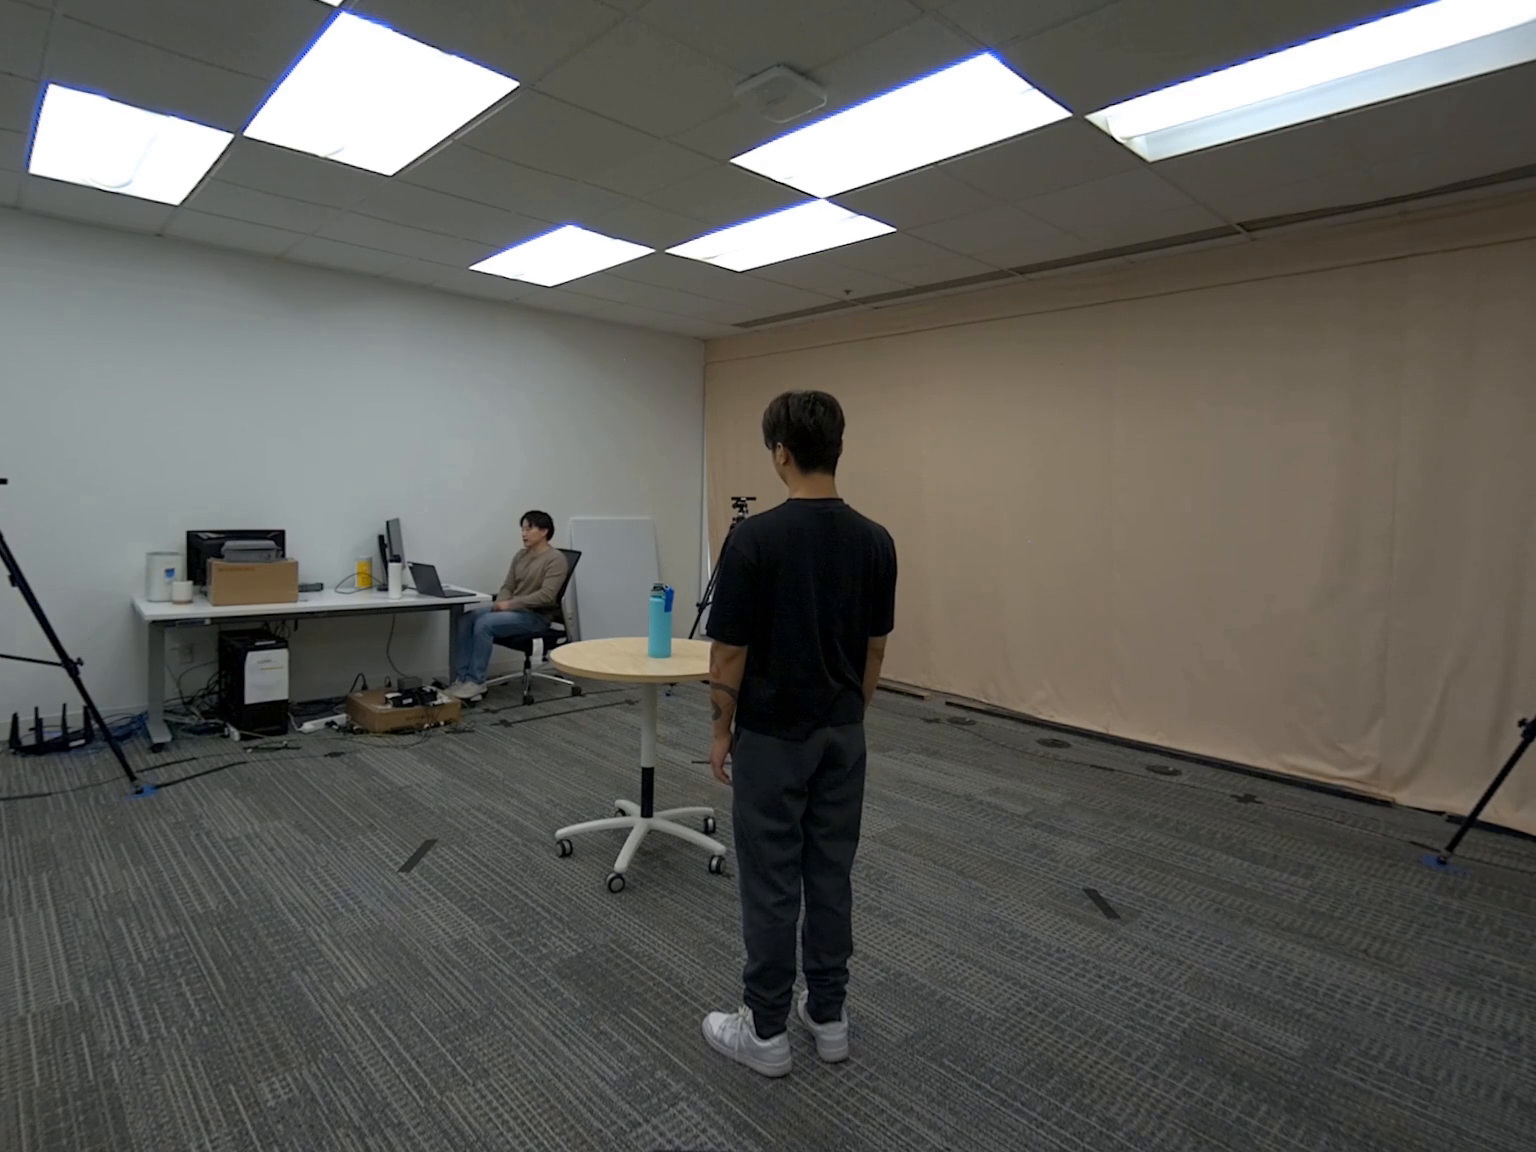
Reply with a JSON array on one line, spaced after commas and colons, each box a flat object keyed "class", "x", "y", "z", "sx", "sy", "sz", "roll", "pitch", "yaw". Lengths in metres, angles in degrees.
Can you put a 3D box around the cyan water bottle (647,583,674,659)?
[{"class": "cyan water bottle", "x": -0.423, "y": 0.170, "z": 3.231, "sx": 0.092, "sy": 0.282, "sz": 0.093, "roll": 4, "pitch": 4, "yaw": -2}]
